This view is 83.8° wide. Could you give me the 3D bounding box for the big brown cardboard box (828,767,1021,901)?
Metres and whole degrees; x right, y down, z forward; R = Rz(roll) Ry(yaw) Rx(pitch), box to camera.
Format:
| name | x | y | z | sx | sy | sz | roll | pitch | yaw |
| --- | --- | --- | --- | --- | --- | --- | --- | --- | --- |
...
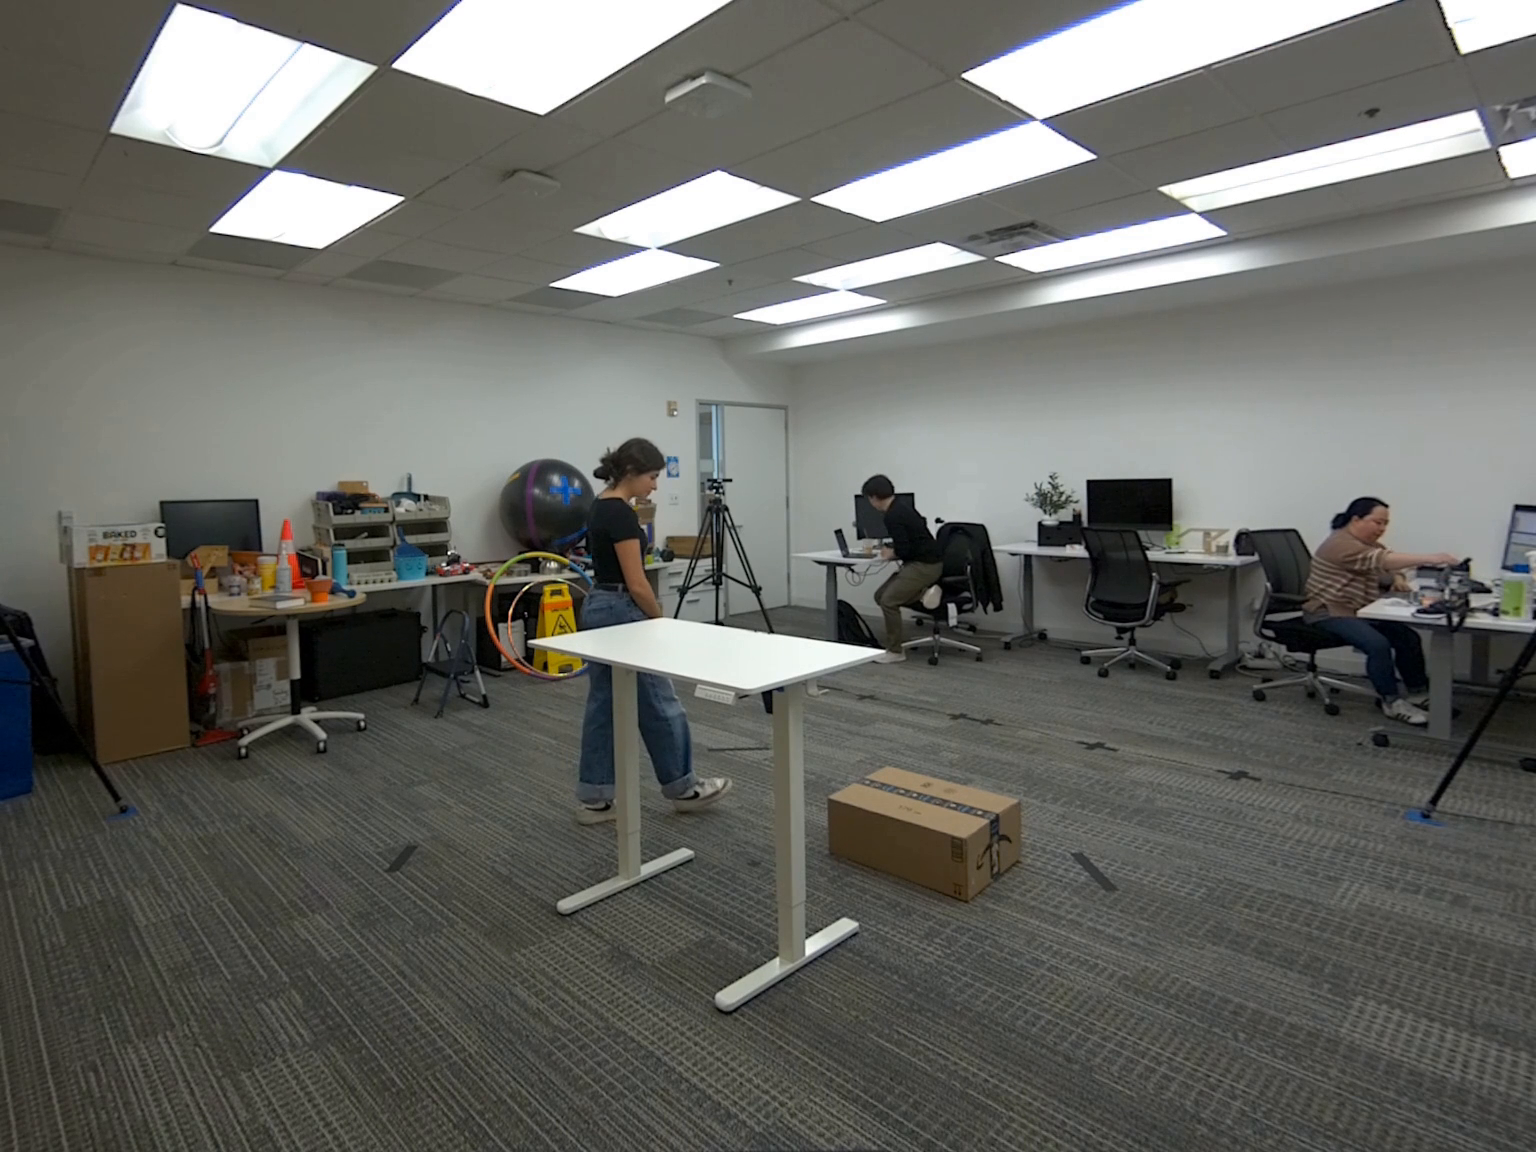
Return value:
| name | x | y | z | sx | sy | sz | roll | pitch | yaw |
| --- | --- | --- | --- | --- | --- | --- | --- | --- | --- |
| big brown cardboard box | 0.573 | 0.920 | 3.126 | 0.607 | 0.232 | 0.407 | 5 | 10 | 42 |
